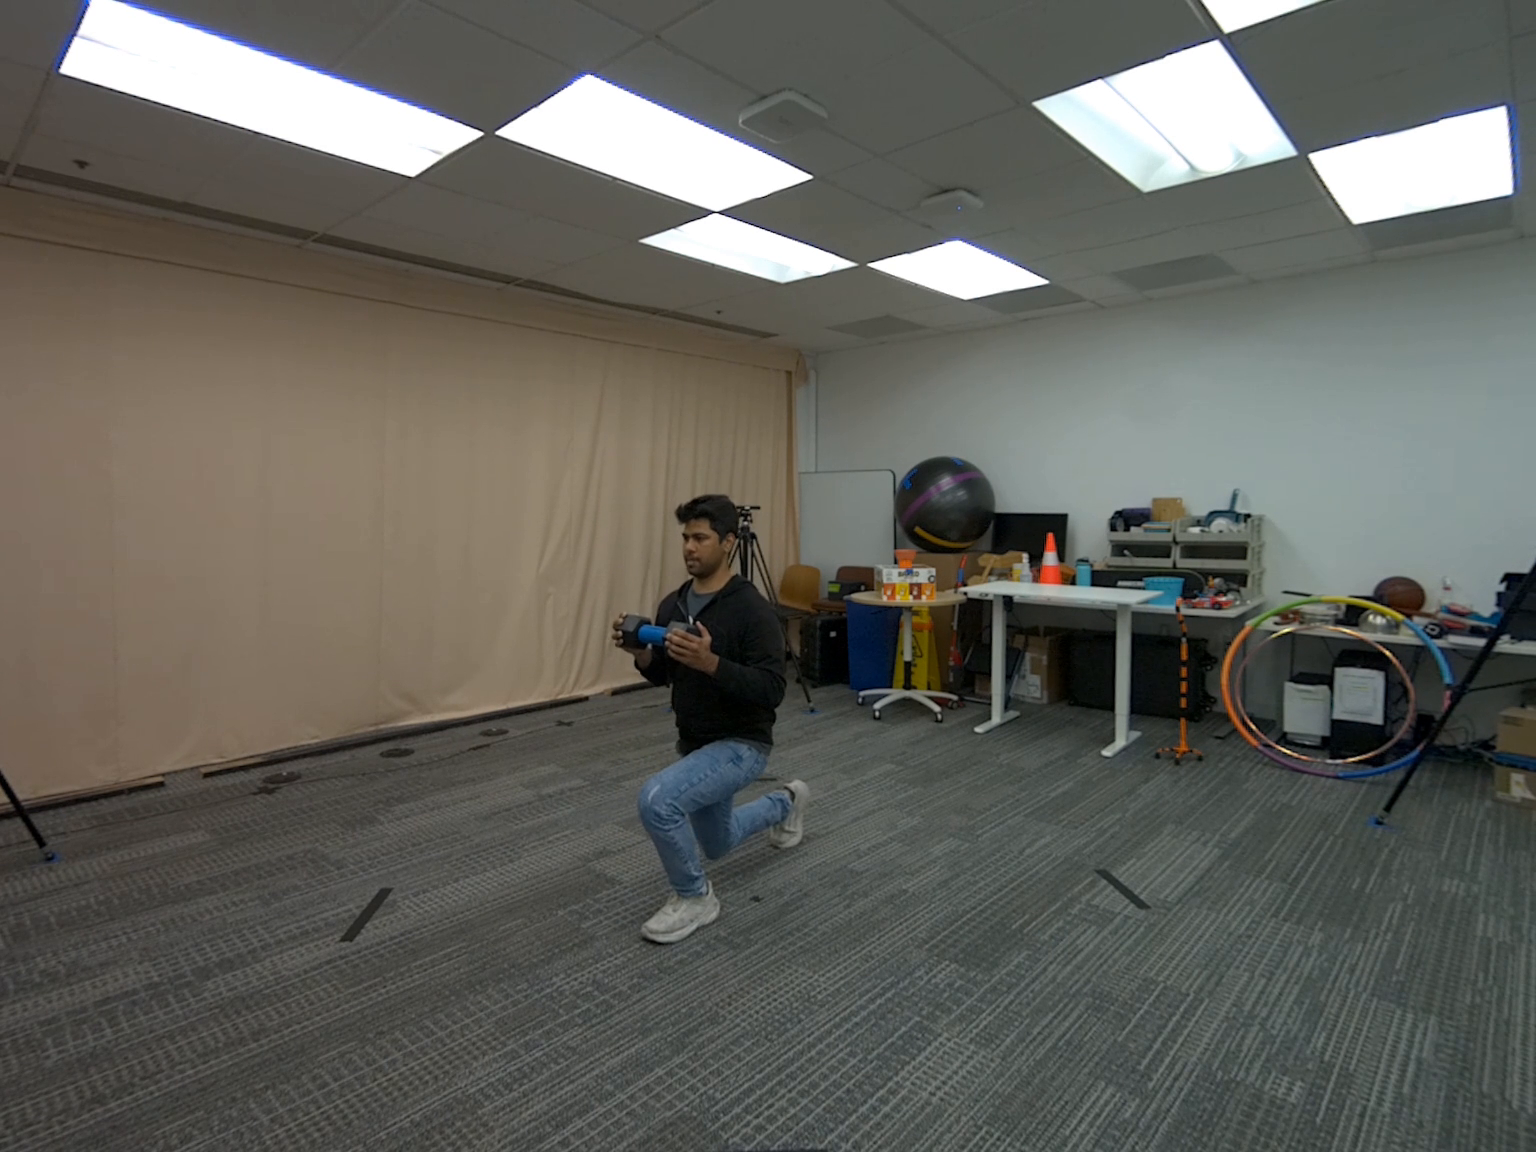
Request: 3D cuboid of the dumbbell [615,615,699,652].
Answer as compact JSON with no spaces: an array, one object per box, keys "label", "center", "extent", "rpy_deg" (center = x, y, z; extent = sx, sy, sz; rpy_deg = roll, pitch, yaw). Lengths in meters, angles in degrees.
[{"label":"dumbbell","center":[-0.352,0.190,2.735],"extent":[0.303,0.121,0.107],"rpy_deg":[4,23,38]}]
